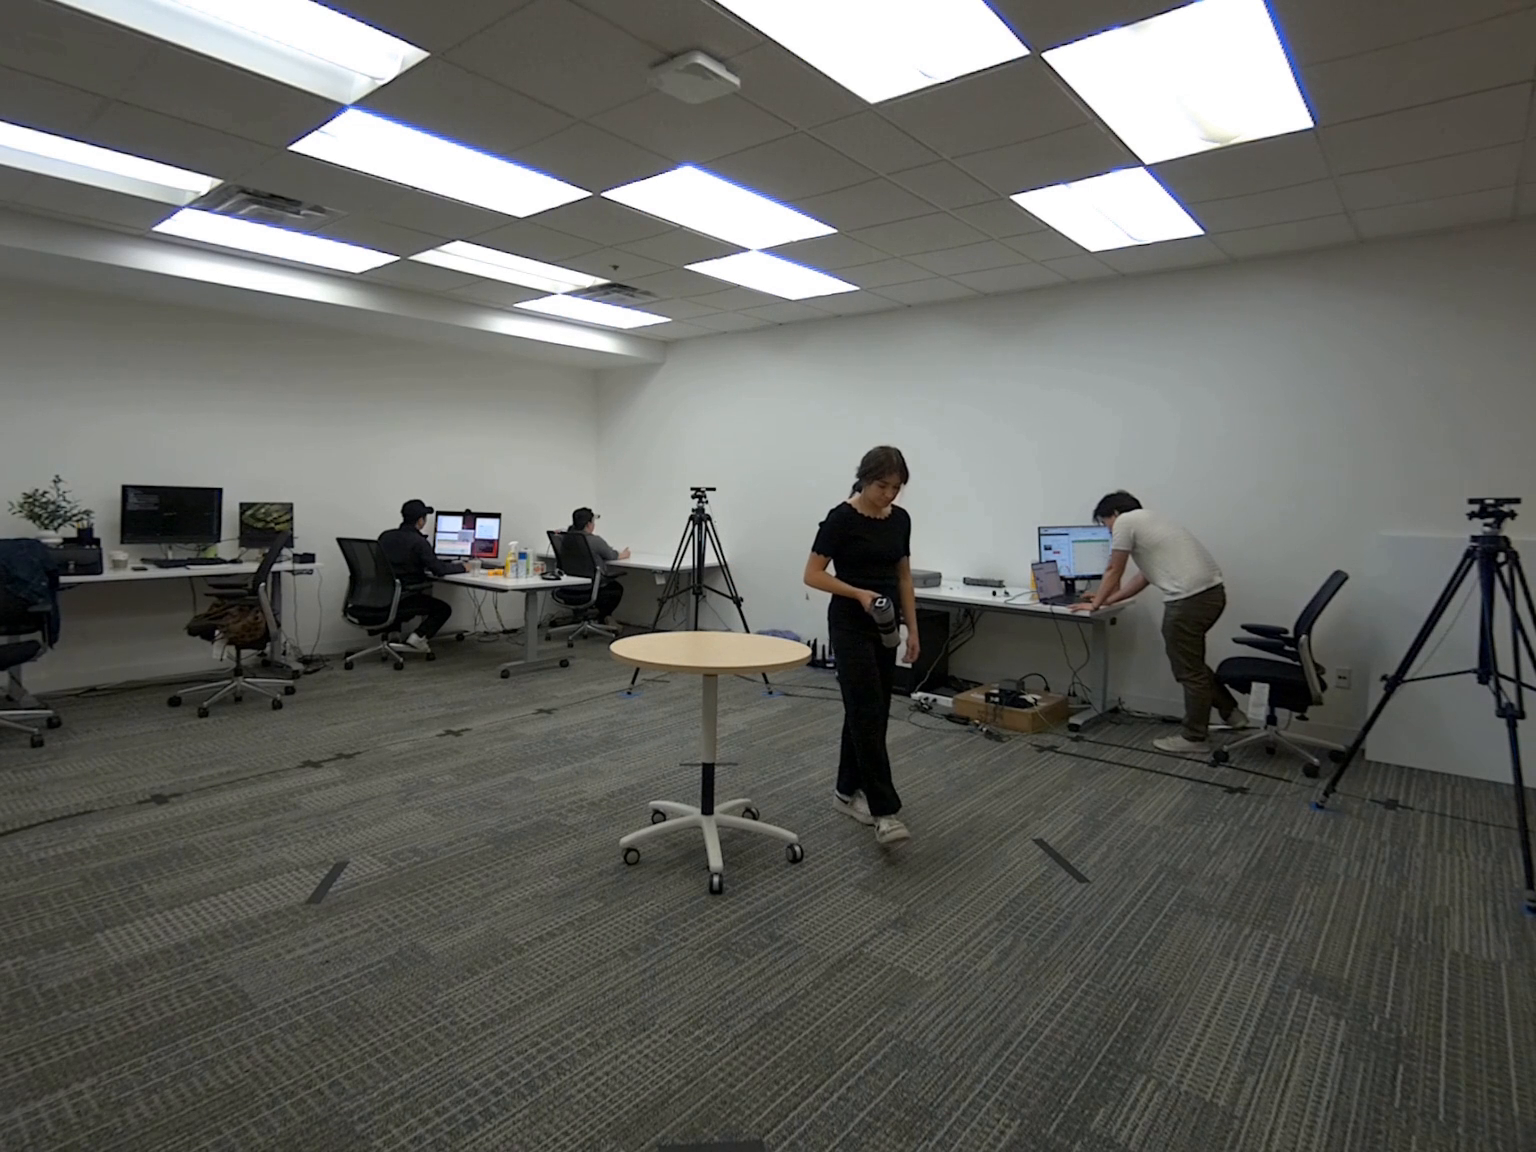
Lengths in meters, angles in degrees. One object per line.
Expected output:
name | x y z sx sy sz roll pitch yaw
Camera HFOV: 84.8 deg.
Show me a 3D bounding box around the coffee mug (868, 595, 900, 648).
coffee mug | 0.449 0.178 3.358 0.087 0.196 0.127 -31 32 -19
